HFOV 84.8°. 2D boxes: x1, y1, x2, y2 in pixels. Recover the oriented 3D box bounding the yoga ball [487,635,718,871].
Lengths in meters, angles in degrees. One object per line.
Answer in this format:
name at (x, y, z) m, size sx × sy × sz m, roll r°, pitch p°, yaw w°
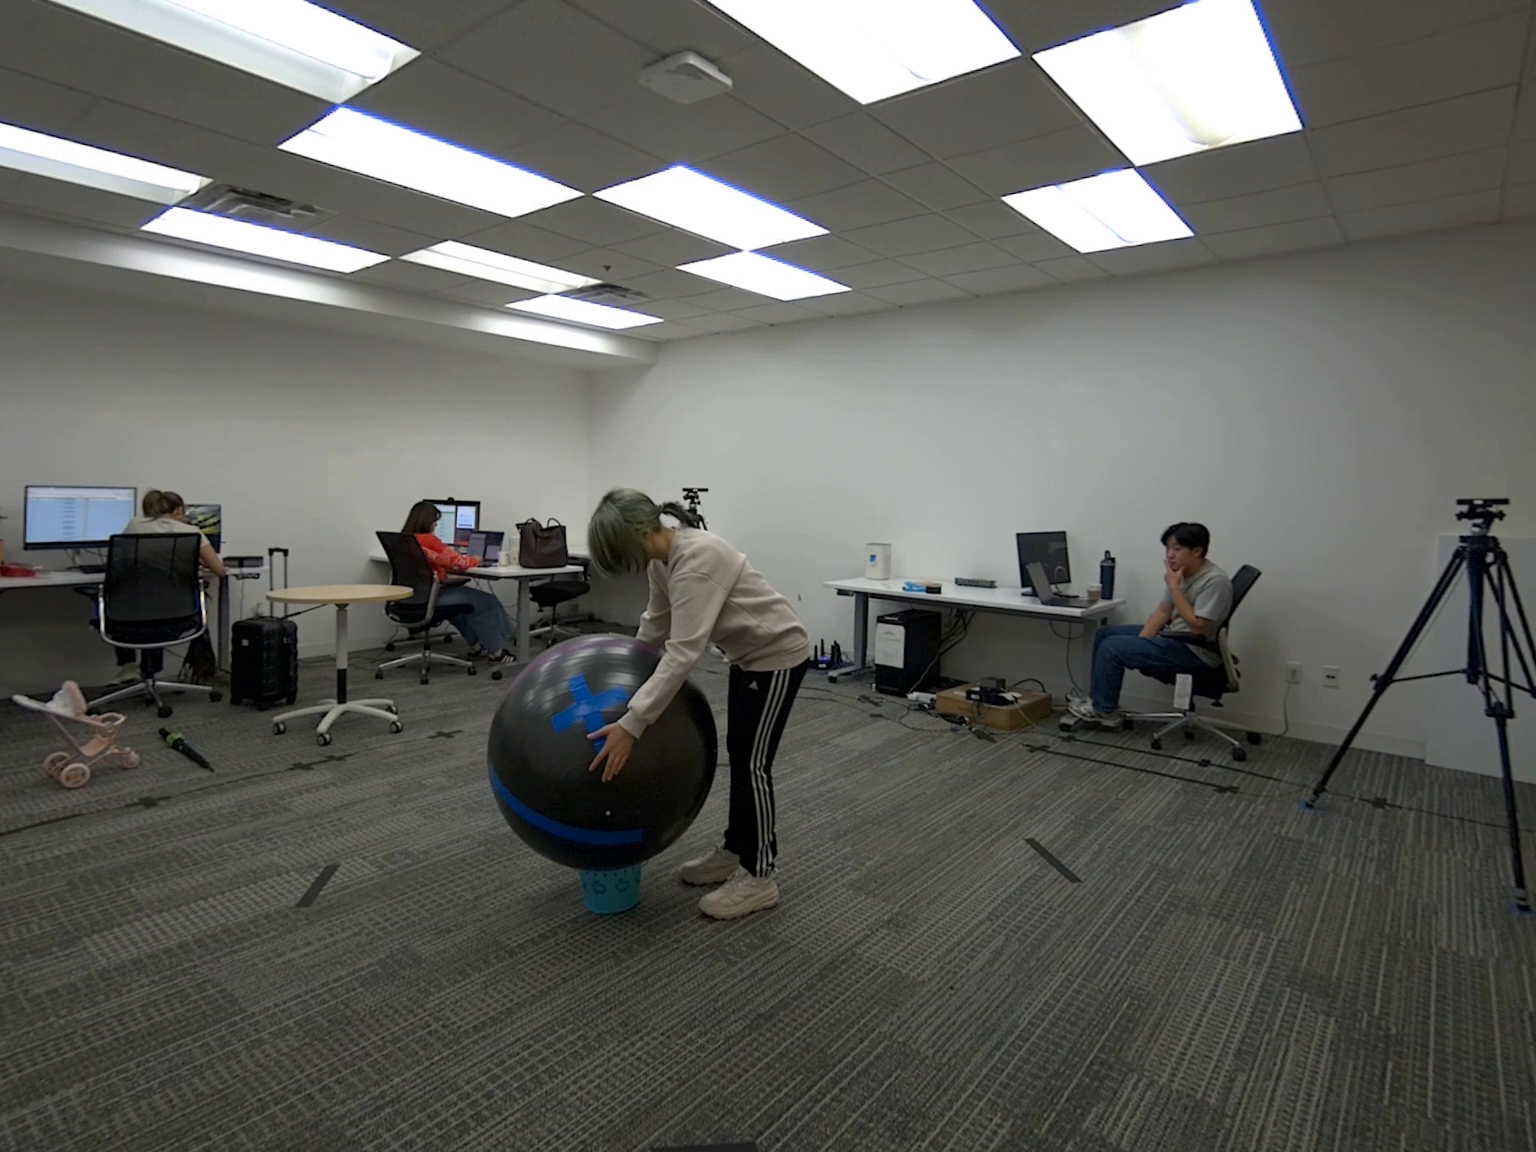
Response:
yoga ball at (-0.567, 0.579, 2.825) m, size 0.757 × 0.756 × 0.761 m, roll 1°, pitch 4°, yaw -2°
